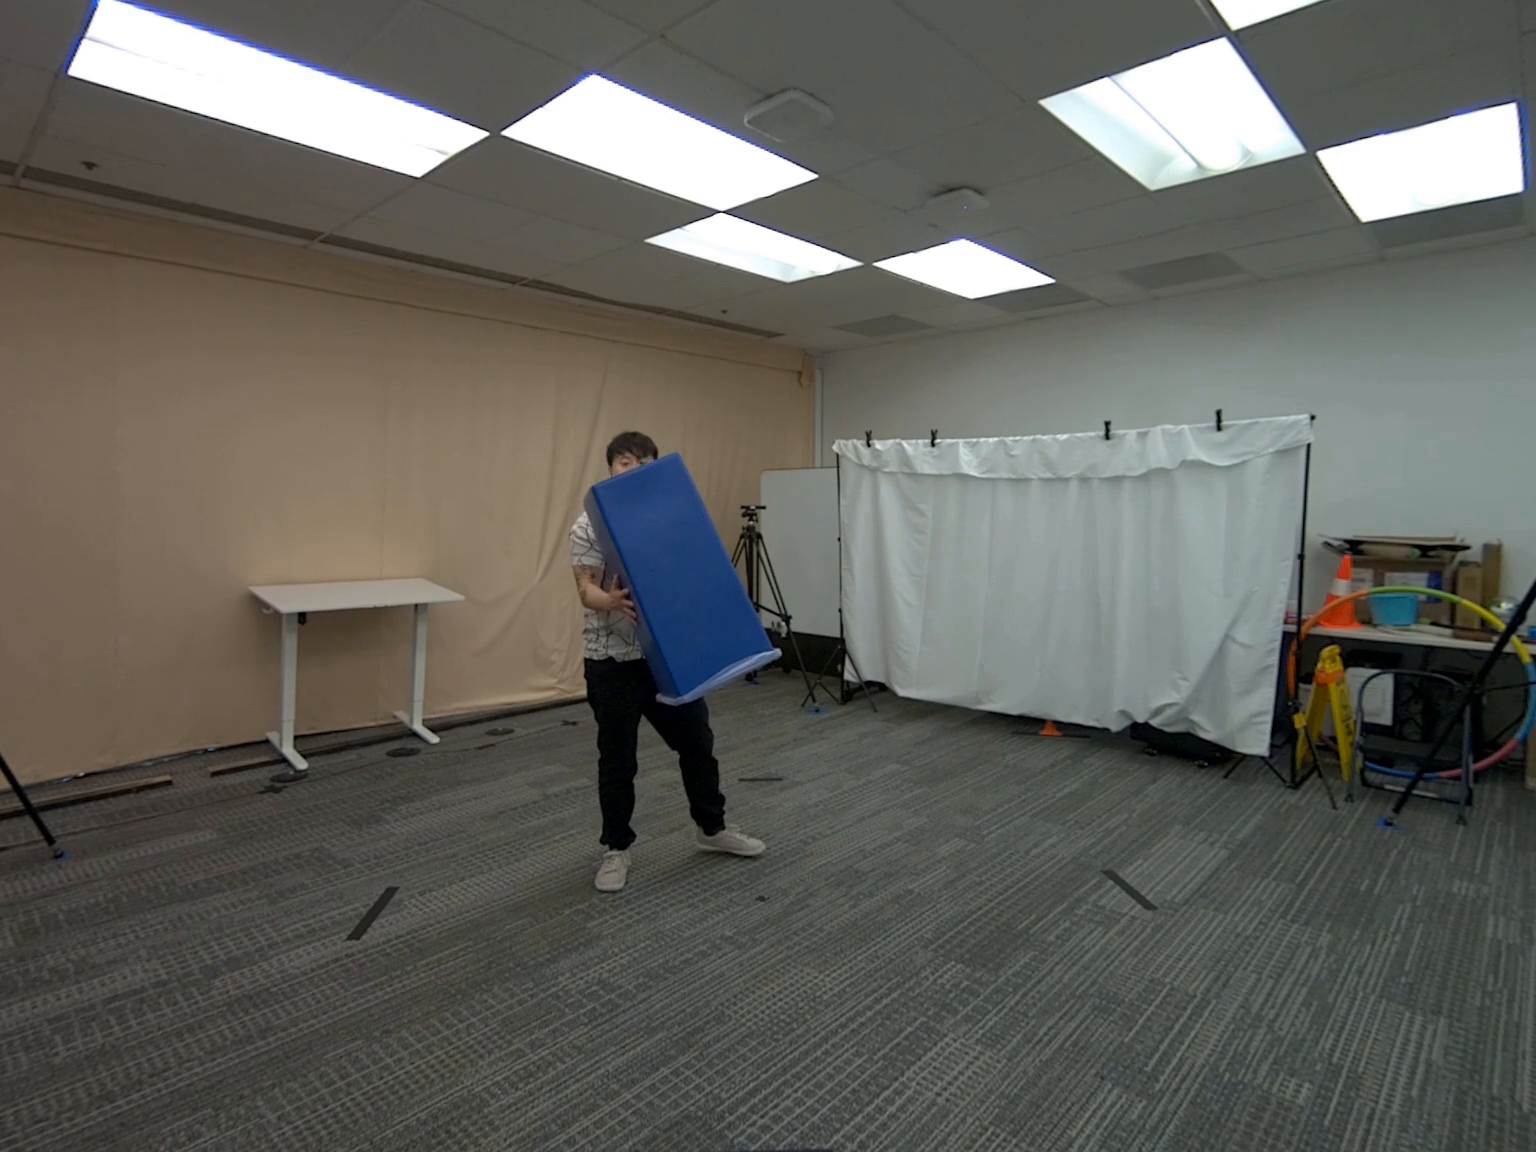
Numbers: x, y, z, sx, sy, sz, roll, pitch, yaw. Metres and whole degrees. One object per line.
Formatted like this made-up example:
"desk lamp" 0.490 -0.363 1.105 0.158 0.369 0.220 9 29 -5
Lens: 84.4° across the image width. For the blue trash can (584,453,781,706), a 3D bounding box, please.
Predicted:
"blue trash can" -0.284 0.015 2.712 0.369 0.715 0.382 -23 -1 -17
